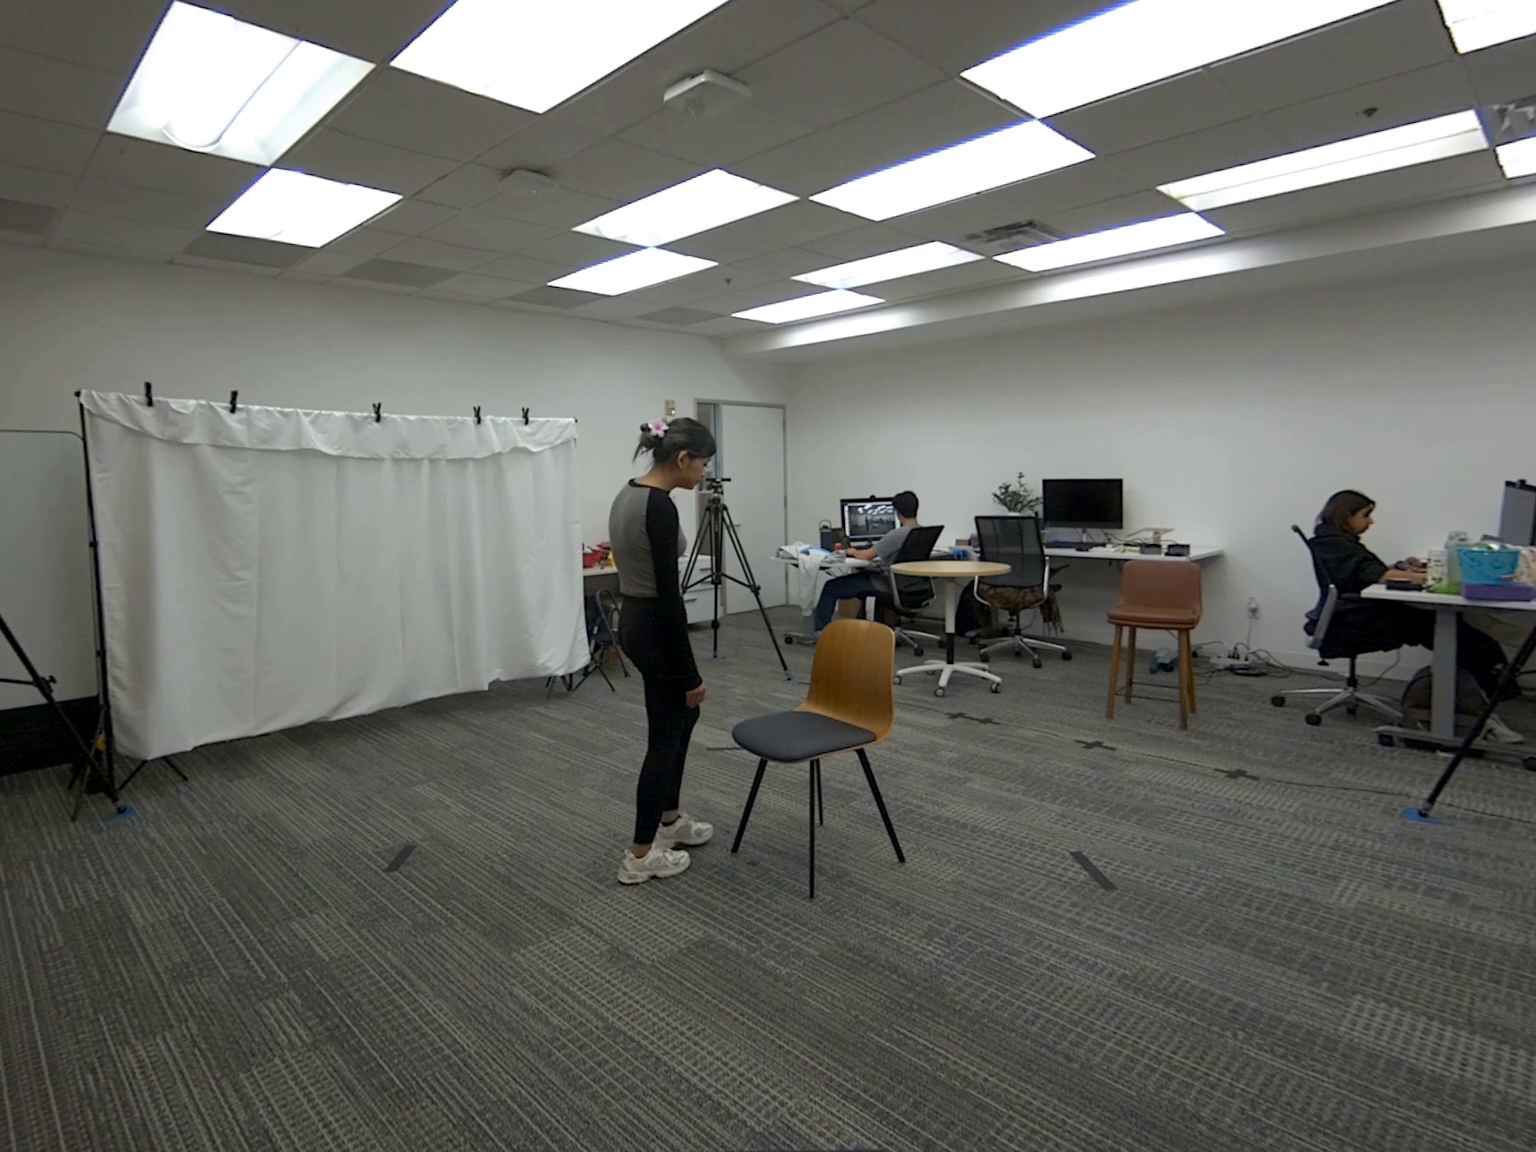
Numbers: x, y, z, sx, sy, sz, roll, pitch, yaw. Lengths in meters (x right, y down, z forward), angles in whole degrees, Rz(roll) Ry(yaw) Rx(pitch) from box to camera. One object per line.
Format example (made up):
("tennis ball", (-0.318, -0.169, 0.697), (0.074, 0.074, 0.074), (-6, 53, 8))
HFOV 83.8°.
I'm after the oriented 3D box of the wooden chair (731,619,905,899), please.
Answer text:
("wooden chair", (0.161, 0.608, 3.102), (0.508, 0.876, 0.492), (1, 3, -37))
